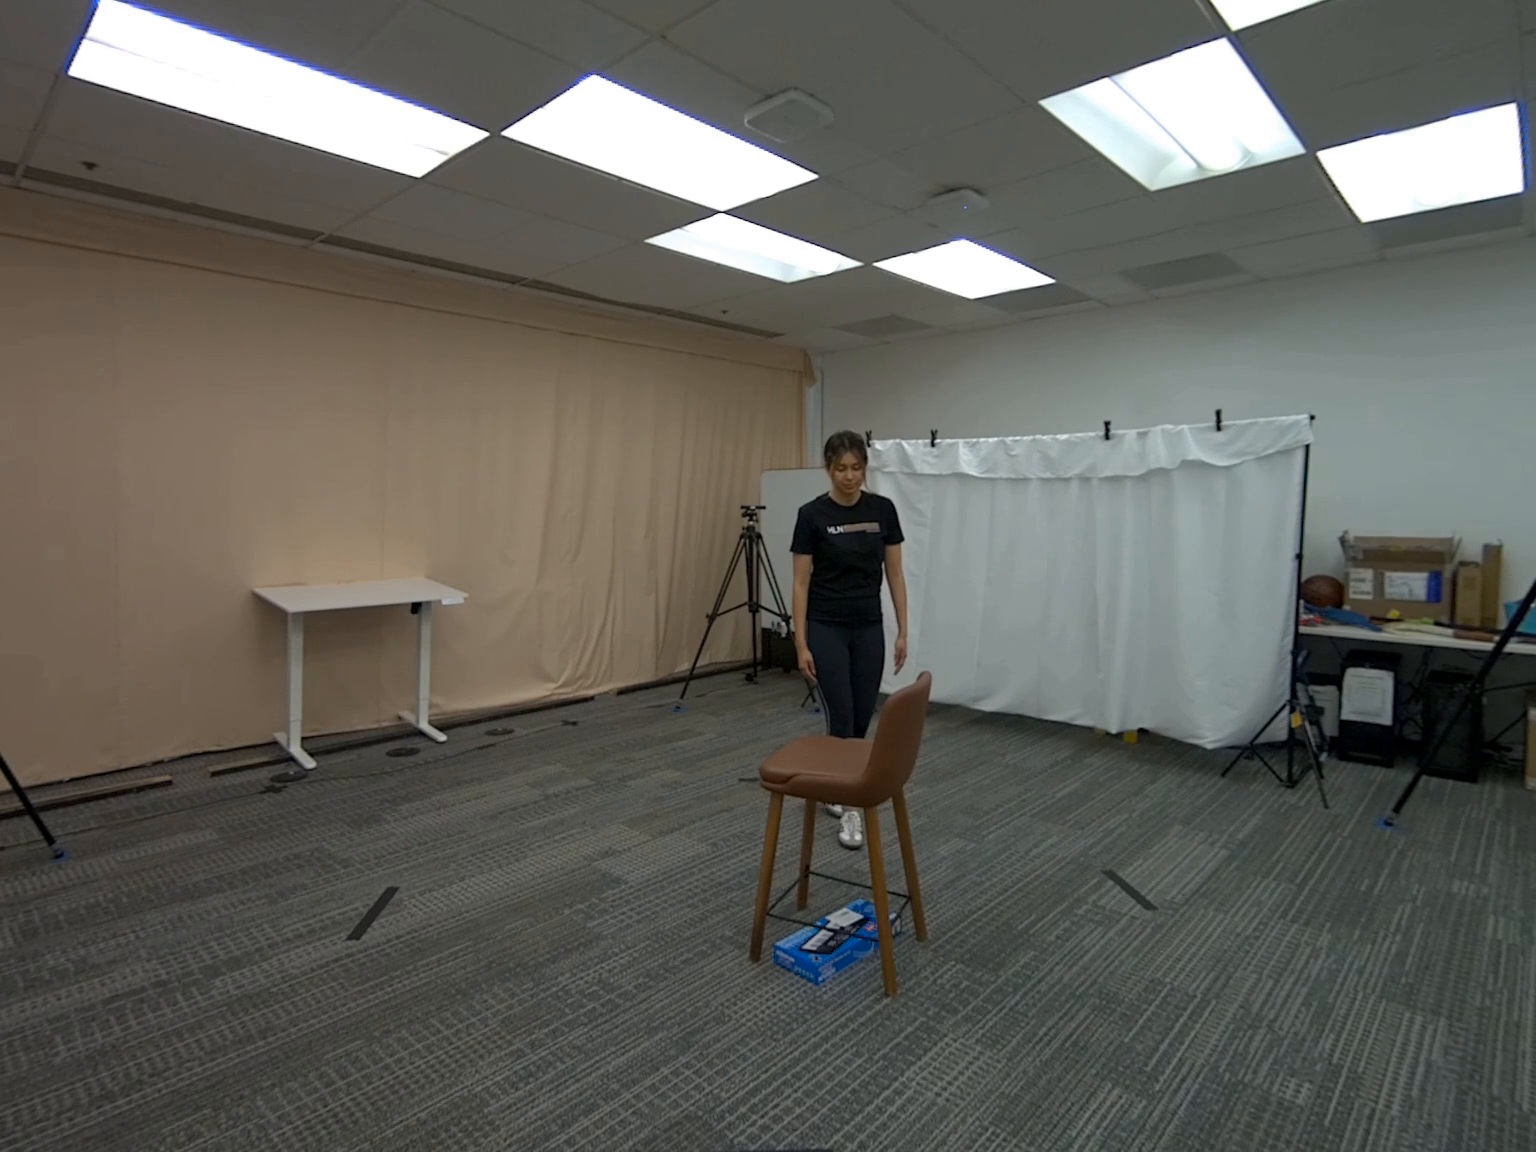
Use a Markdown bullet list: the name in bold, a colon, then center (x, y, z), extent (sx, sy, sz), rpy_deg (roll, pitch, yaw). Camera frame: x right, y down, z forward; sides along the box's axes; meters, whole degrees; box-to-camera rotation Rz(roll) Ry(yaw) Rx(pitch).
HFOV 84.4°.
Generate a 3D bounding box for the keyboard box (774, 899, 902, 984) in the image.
- **keyboard box**: center (0.232, 1.147, 2.649), extent (0.182, 0.059, 0.423), rpy_deg (4, 6, 44)
